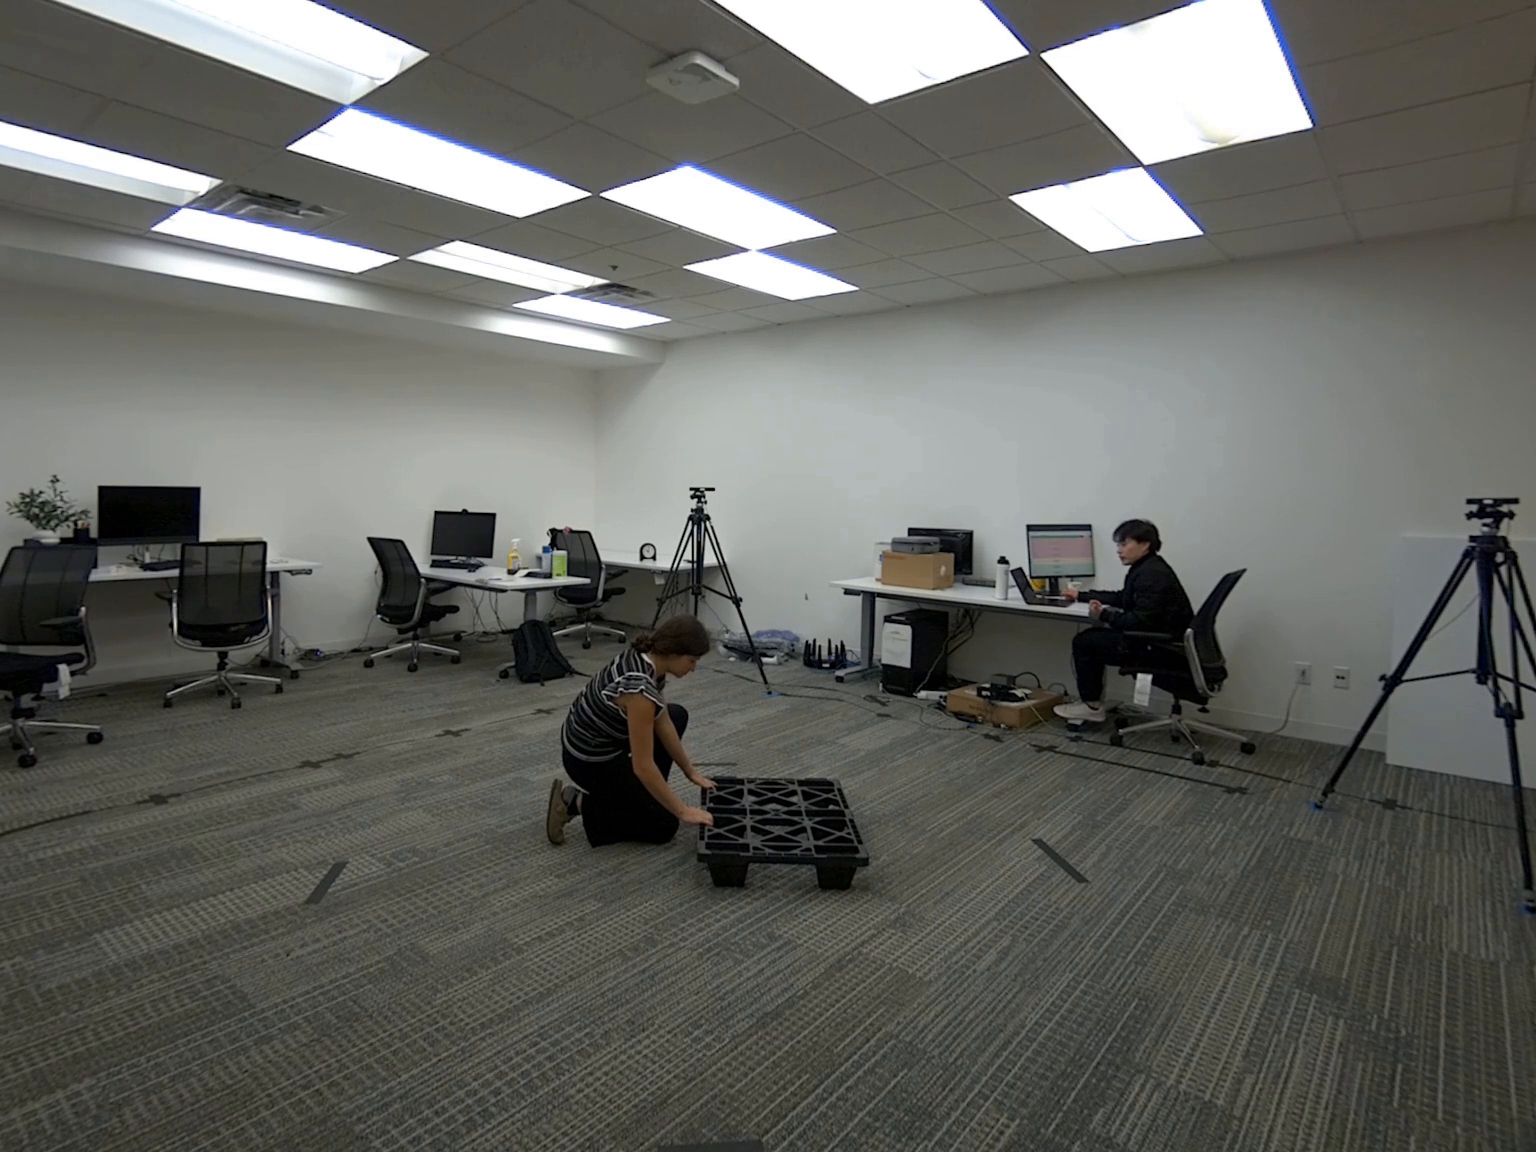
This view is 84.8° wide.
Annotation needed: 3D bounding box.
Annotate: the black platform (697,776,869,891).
[{"bbox_3d":[0.021,0.983,3.320,0.605,0.143,0.809,0,6,-1],"label":"black platform"}]
